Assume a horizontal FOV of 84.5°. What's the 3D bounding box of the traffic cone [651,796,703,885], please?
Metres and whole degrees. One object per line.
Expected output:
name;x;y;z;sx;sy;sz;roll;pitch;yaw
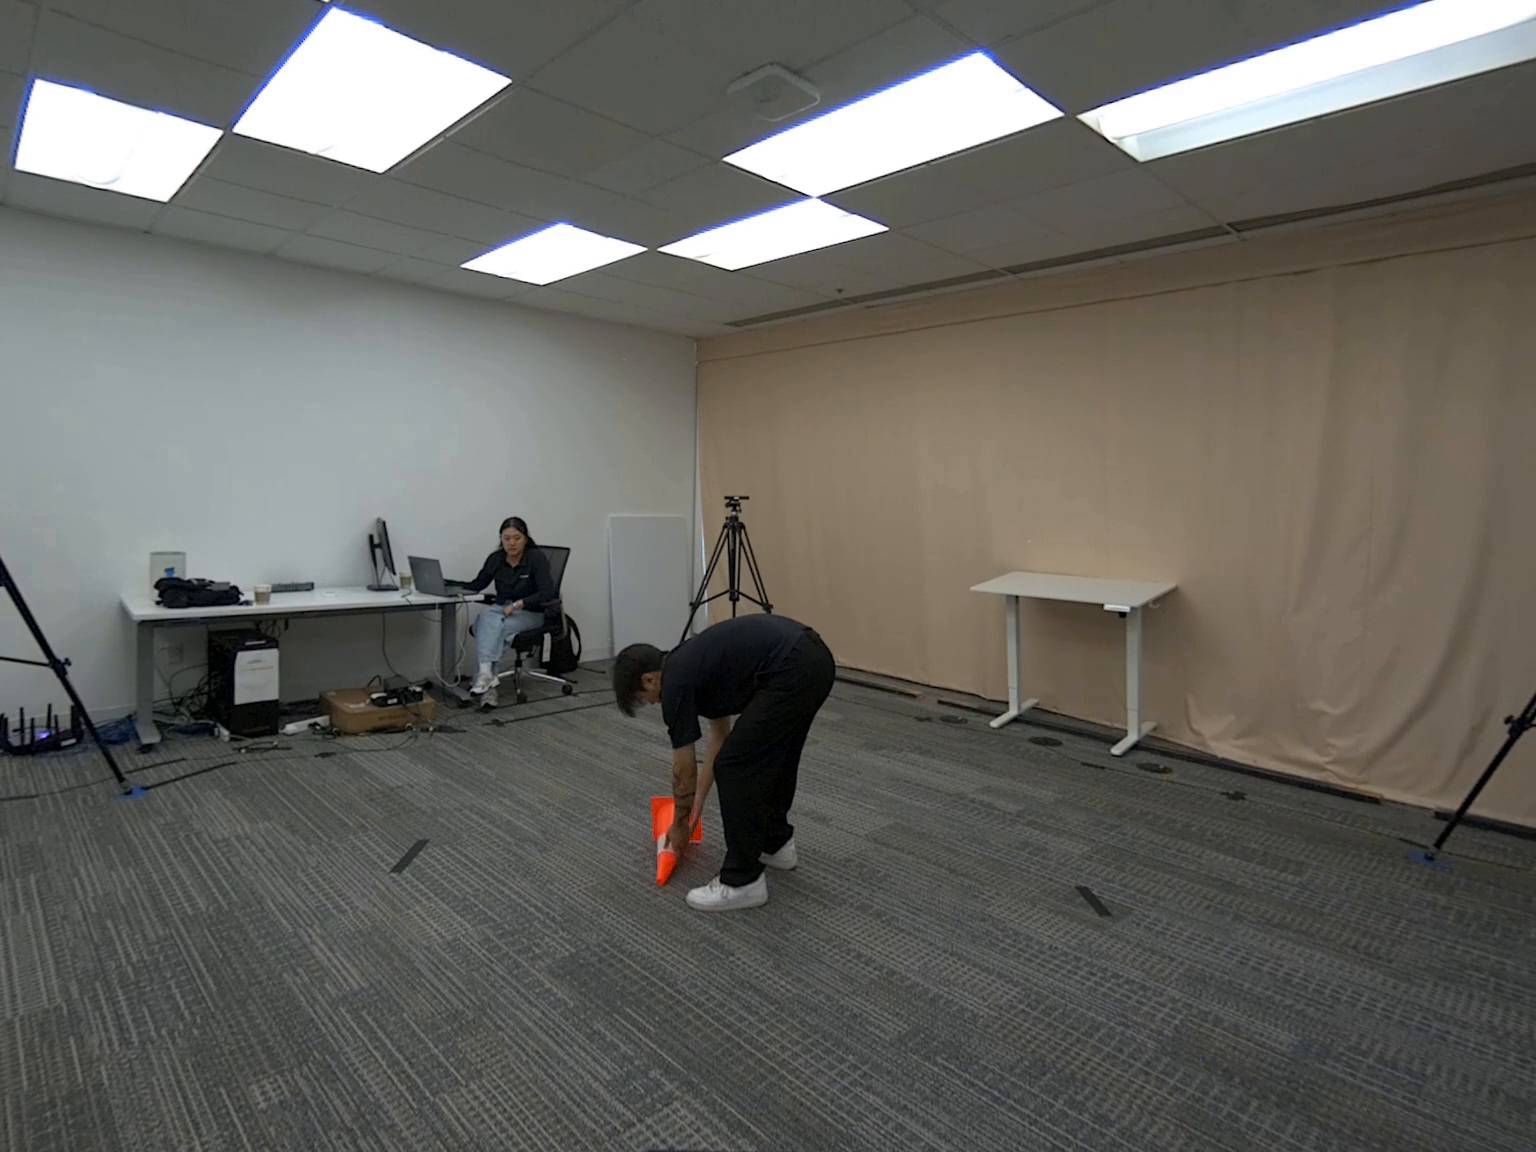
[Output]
traffic cone;-0.381;1.033;3.185;0.204;0.203;0.387;-5;15;2
